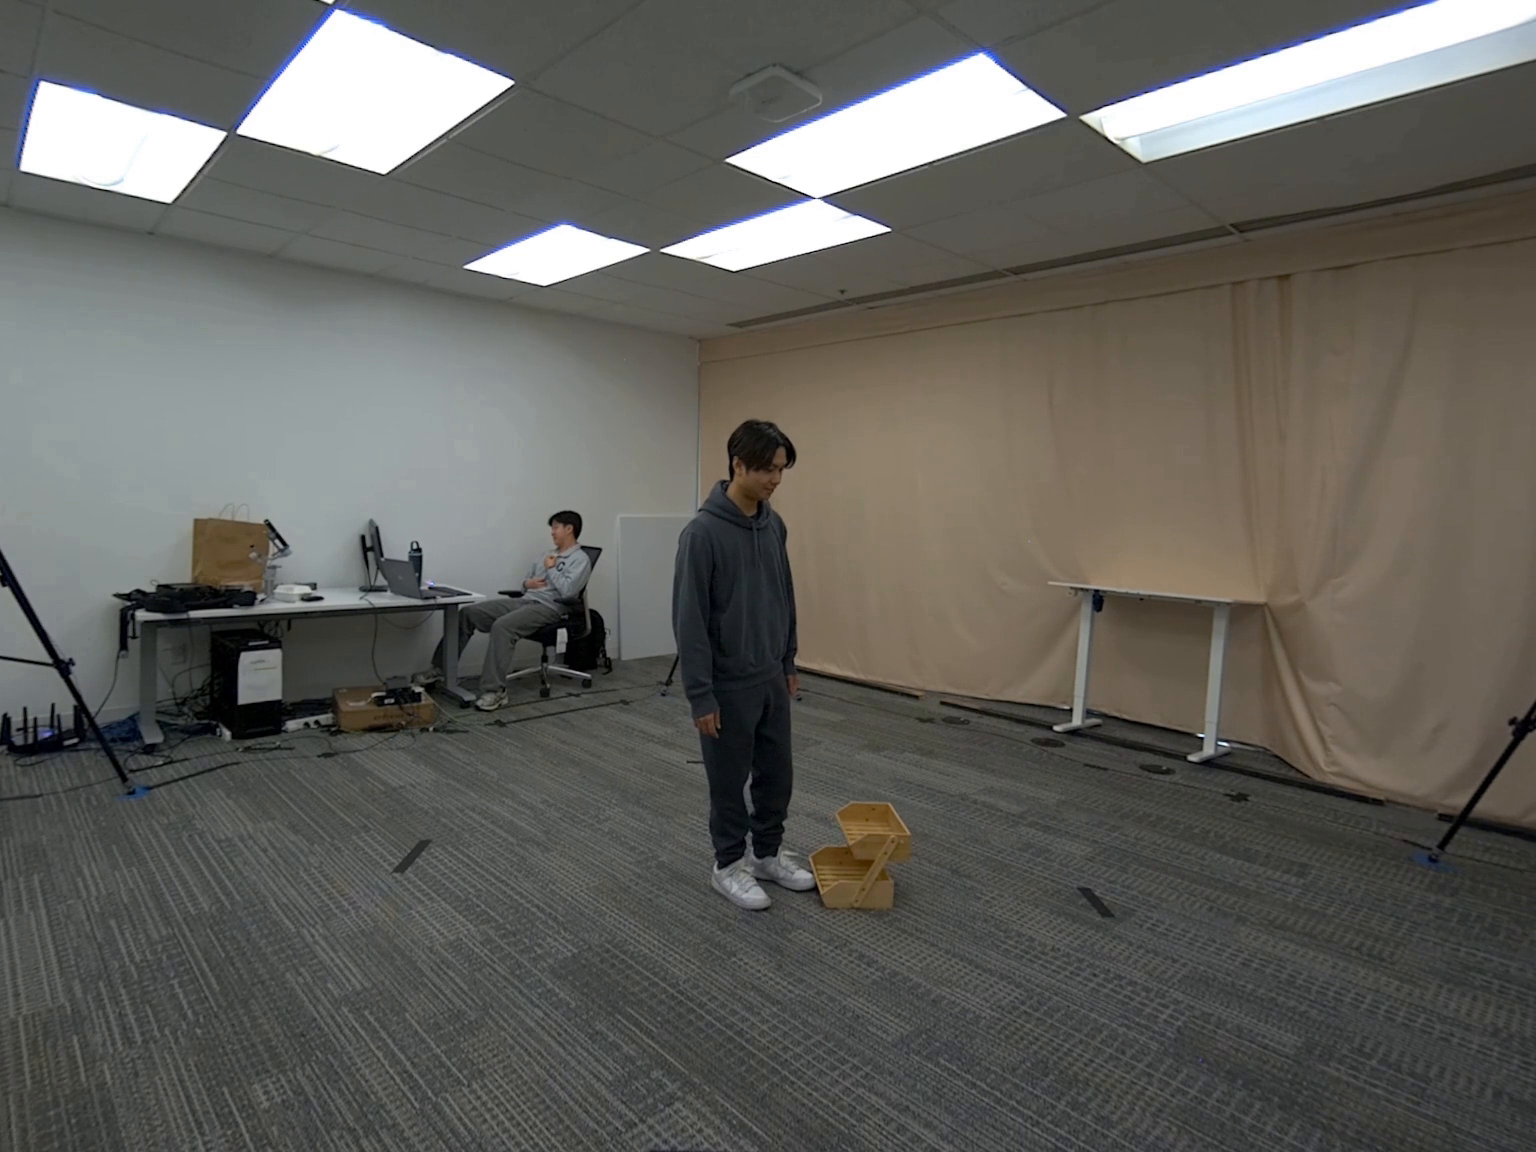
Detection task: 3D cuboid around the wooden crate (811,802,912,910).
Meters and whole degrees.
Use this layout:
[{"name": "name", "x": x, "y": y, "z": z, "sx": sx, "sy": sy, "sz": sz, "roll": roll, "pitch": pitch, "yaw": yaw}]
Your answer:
[{"name": "wooden crate", "x": 0.304, "y": 0.988, "z": 3.023, "sx": 0.301, "sy": 0.272, "sz": 0.326, "roll": 2, "pitch": 4, "yaw": -5}]
